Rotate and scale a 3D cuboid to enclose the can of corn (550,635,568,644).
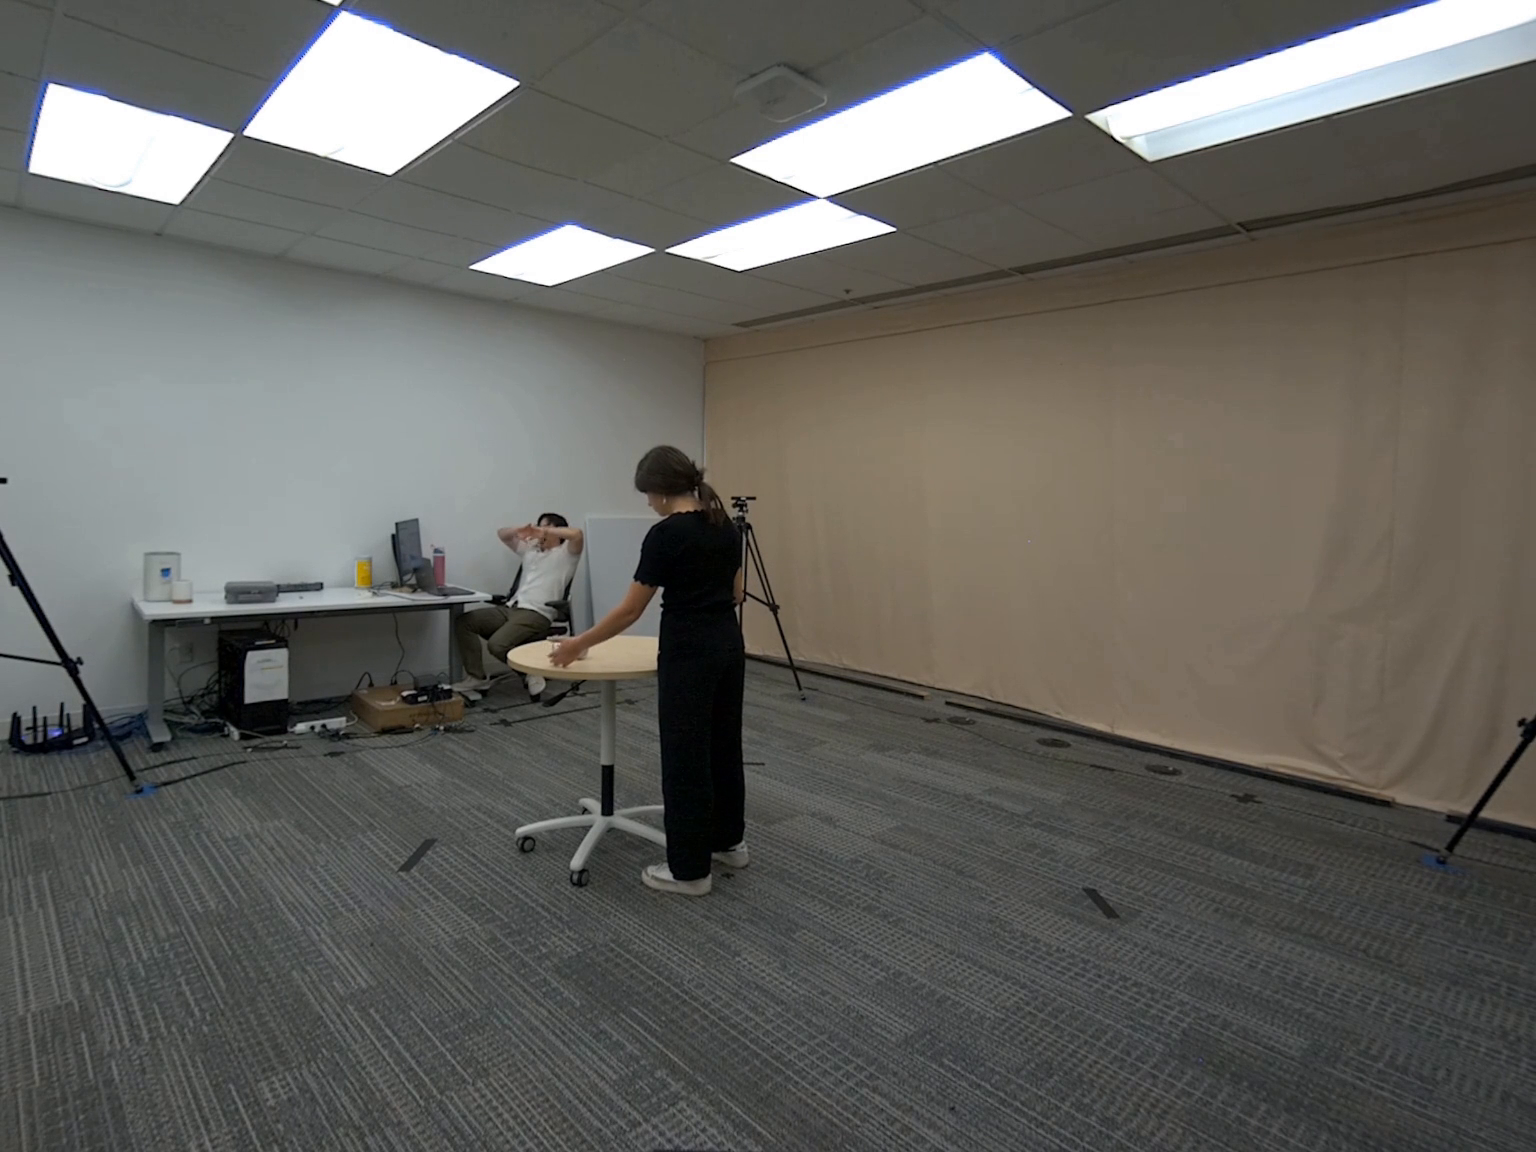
[{"bbox_3d":[-0.733,0.270,3.130,0.113,0.074,0.073,2,4,23],"label":"can of corn"}]
